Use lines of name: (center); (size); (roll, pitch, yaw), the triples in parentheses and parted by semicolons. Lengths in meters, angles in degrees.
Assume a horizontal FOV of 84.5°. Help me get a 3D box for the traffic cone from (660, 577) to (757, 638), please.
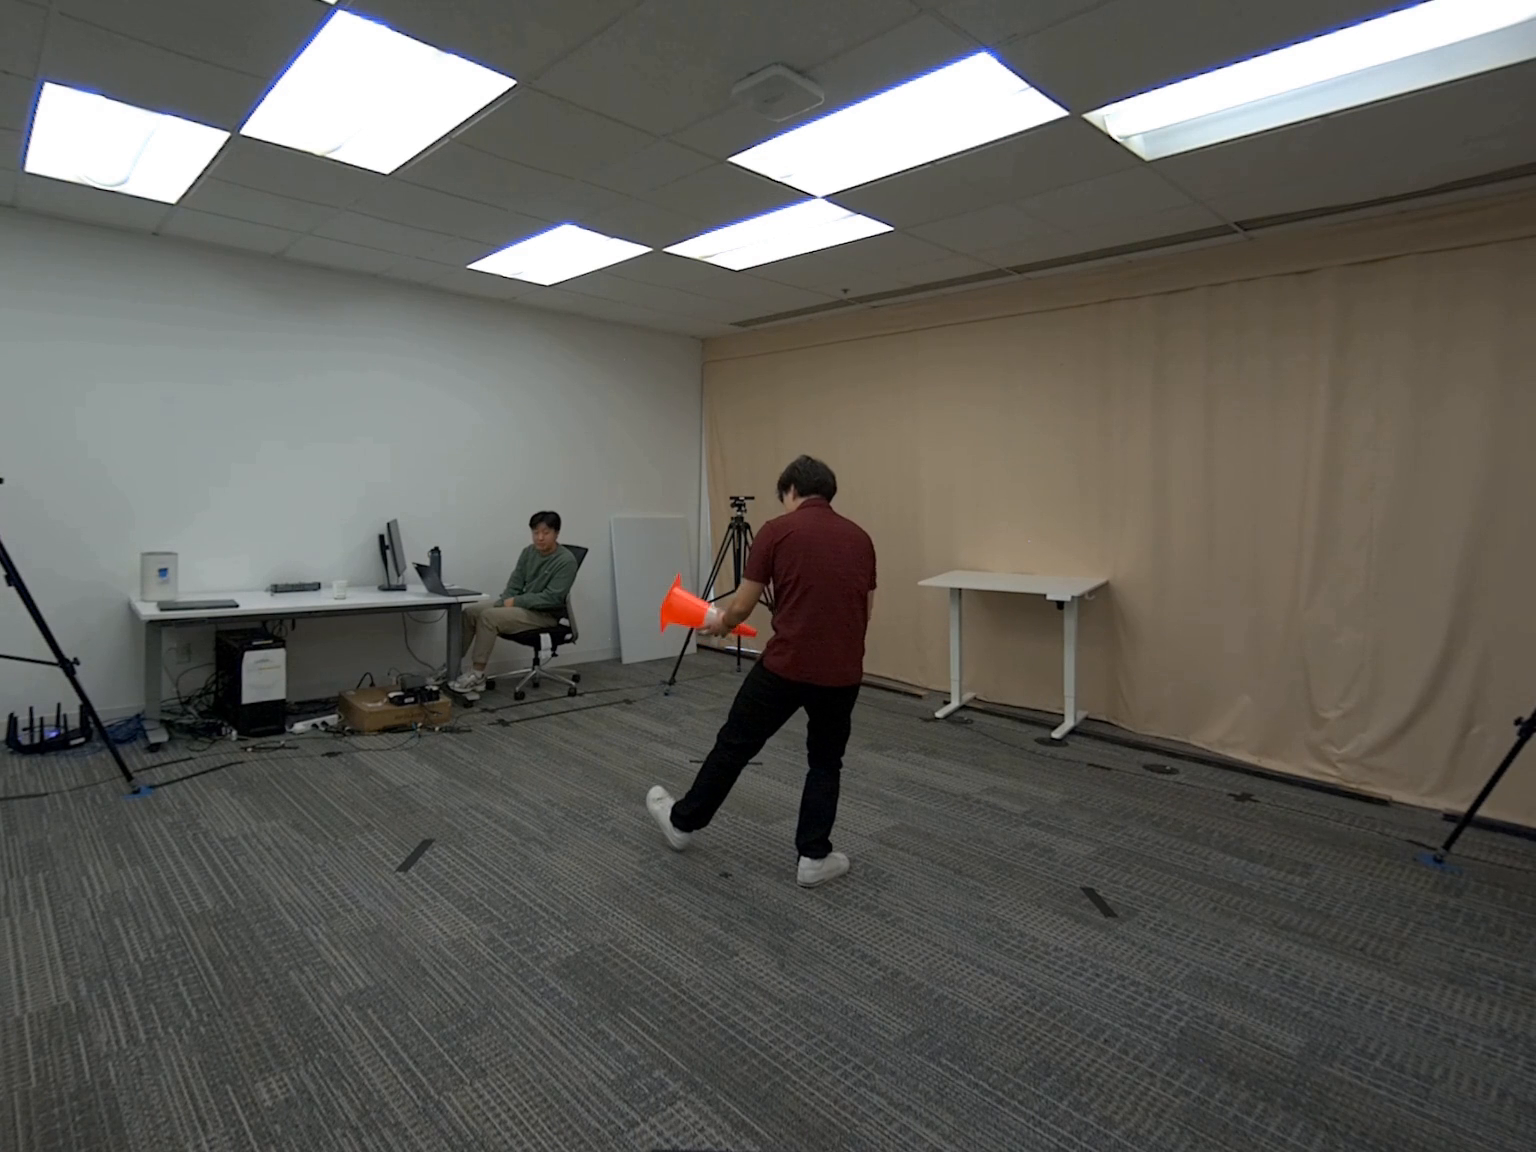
traffic cone: (-0.232, 0.175, 3.419); (0.388, 0.207, 0.199); (16, -35, 11)
